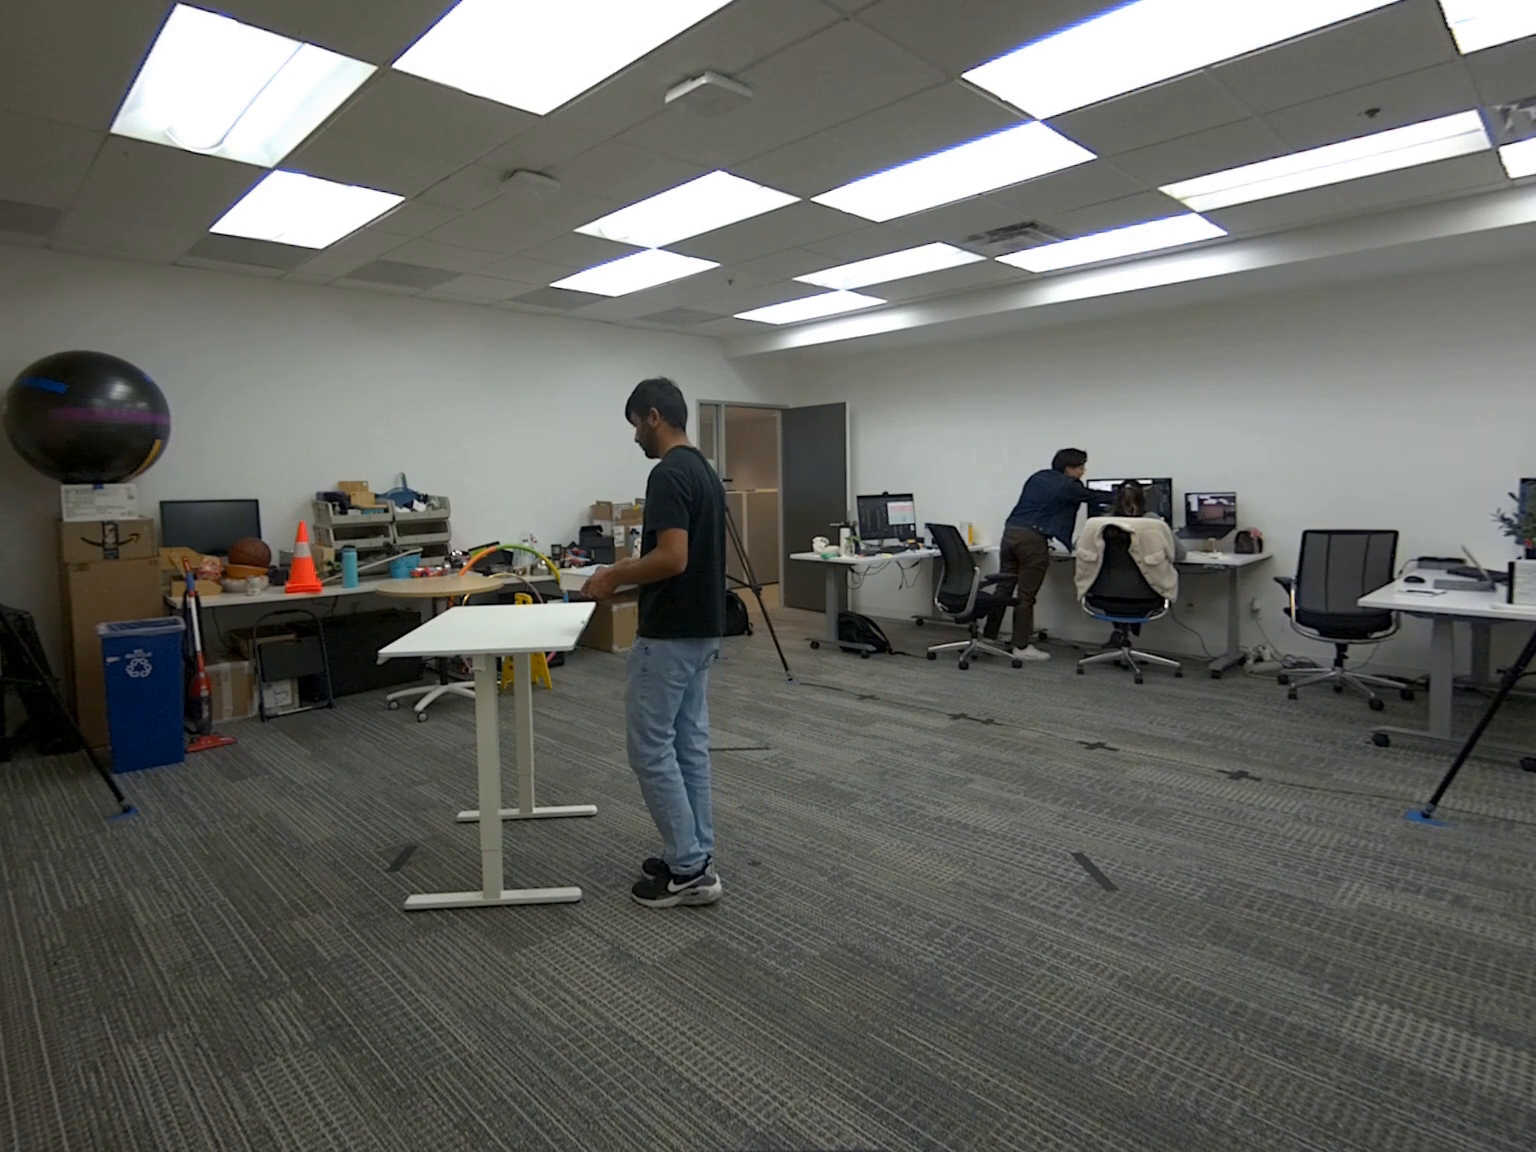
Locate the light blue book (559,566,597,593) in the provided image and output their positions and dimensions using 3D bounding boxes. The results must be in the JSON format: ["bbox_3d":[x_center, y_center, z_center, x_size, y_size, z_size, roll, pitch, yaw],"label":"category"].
[{"bbox_3d":[-0.570,0.007,2.946,0.194,0.059,0.258,5,7,14],"label":"light blue book"}]
